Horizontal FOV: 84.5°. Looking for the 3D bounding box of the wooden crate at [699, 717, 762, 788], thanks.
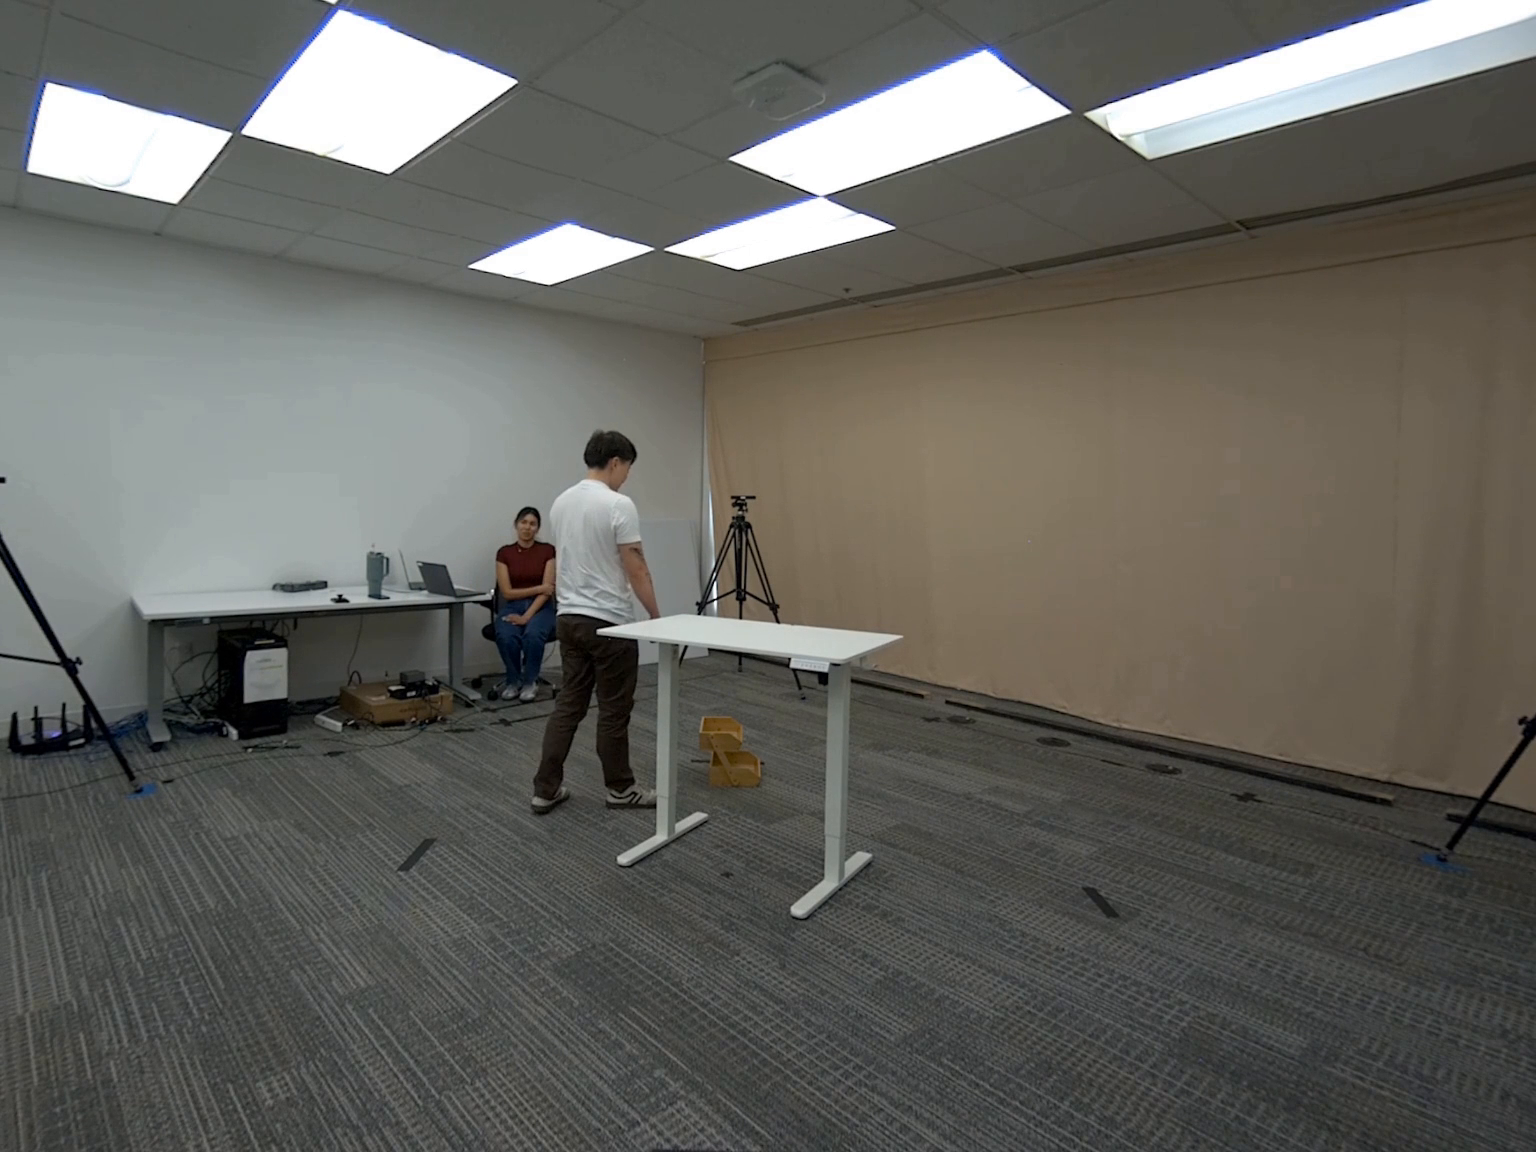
[{"bbox_3d":[-0.194,0.871,4.229,0.302,0.272,0.326,1,4,-2],"label":"wooden crate"}]
